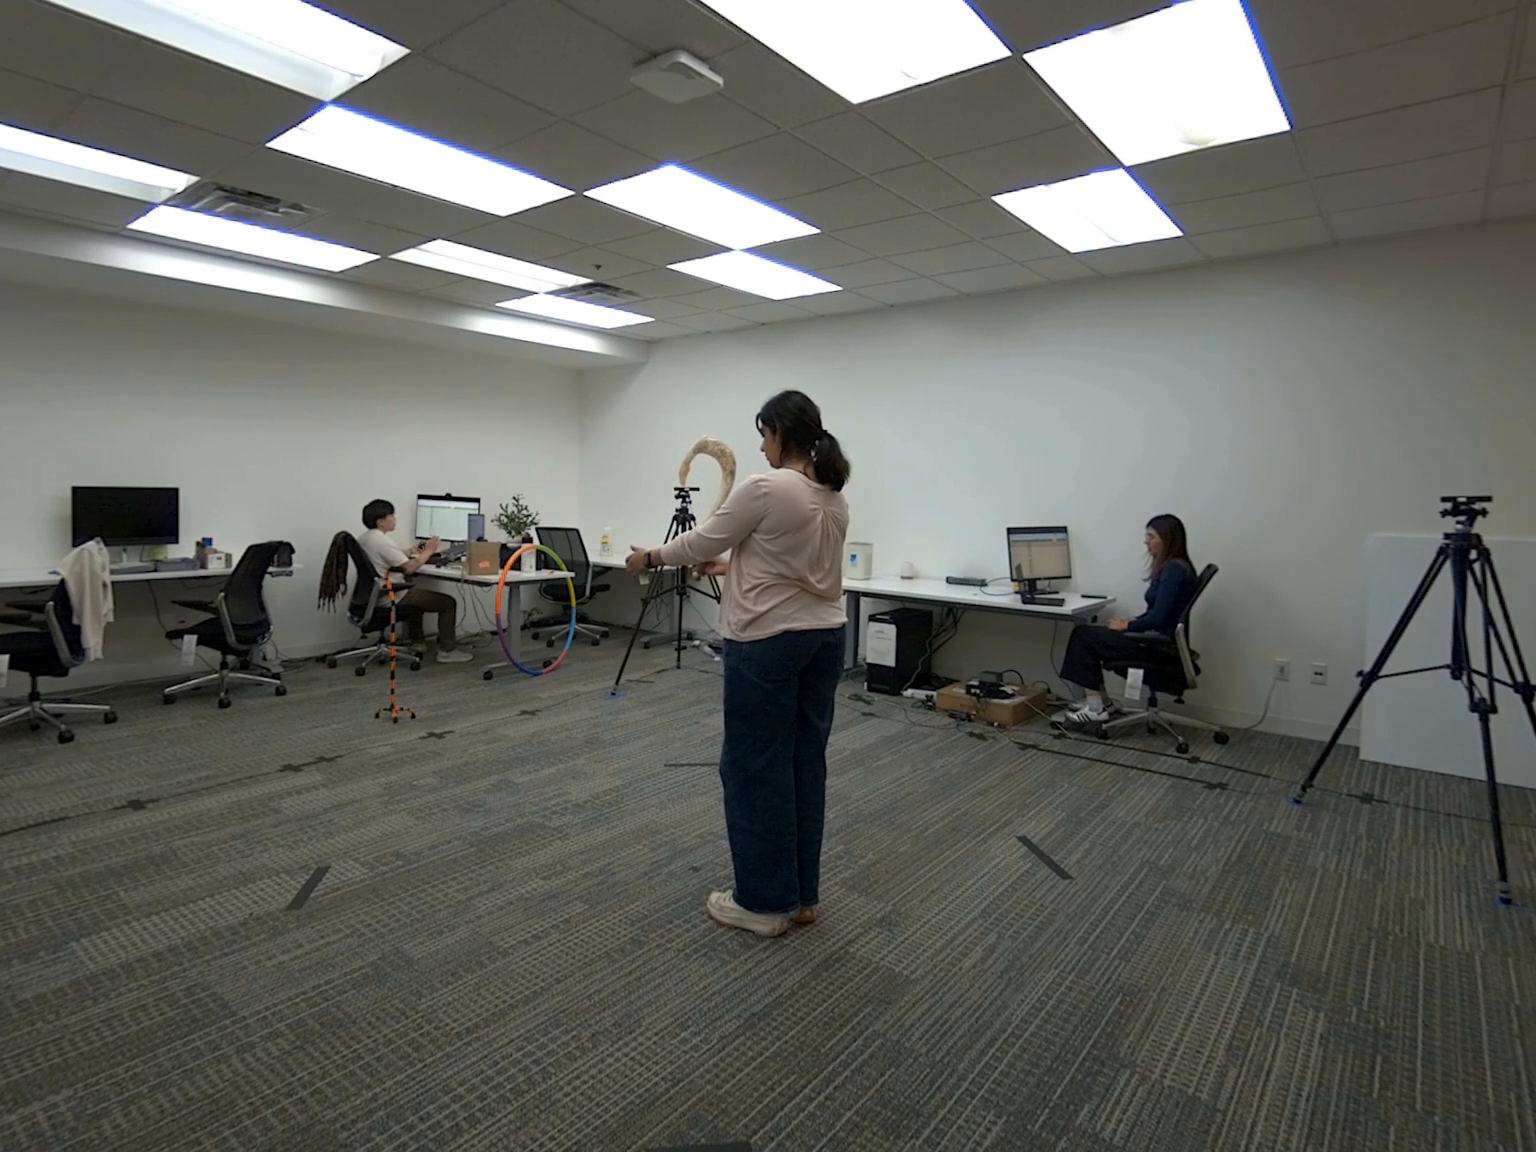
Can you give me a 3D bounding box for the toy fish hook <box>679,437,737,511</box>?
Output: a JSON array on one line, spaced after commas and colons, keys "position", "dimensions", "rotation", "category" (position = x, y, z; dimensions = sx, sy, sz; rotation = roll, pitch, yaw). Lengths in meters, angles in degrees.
[{"position": [-0.259, -0.242, 3.008], "dimensions": [0.218, 0.509, 0.049], "rotation": [14, -7, -25], "category": "toy fish hook"}]
